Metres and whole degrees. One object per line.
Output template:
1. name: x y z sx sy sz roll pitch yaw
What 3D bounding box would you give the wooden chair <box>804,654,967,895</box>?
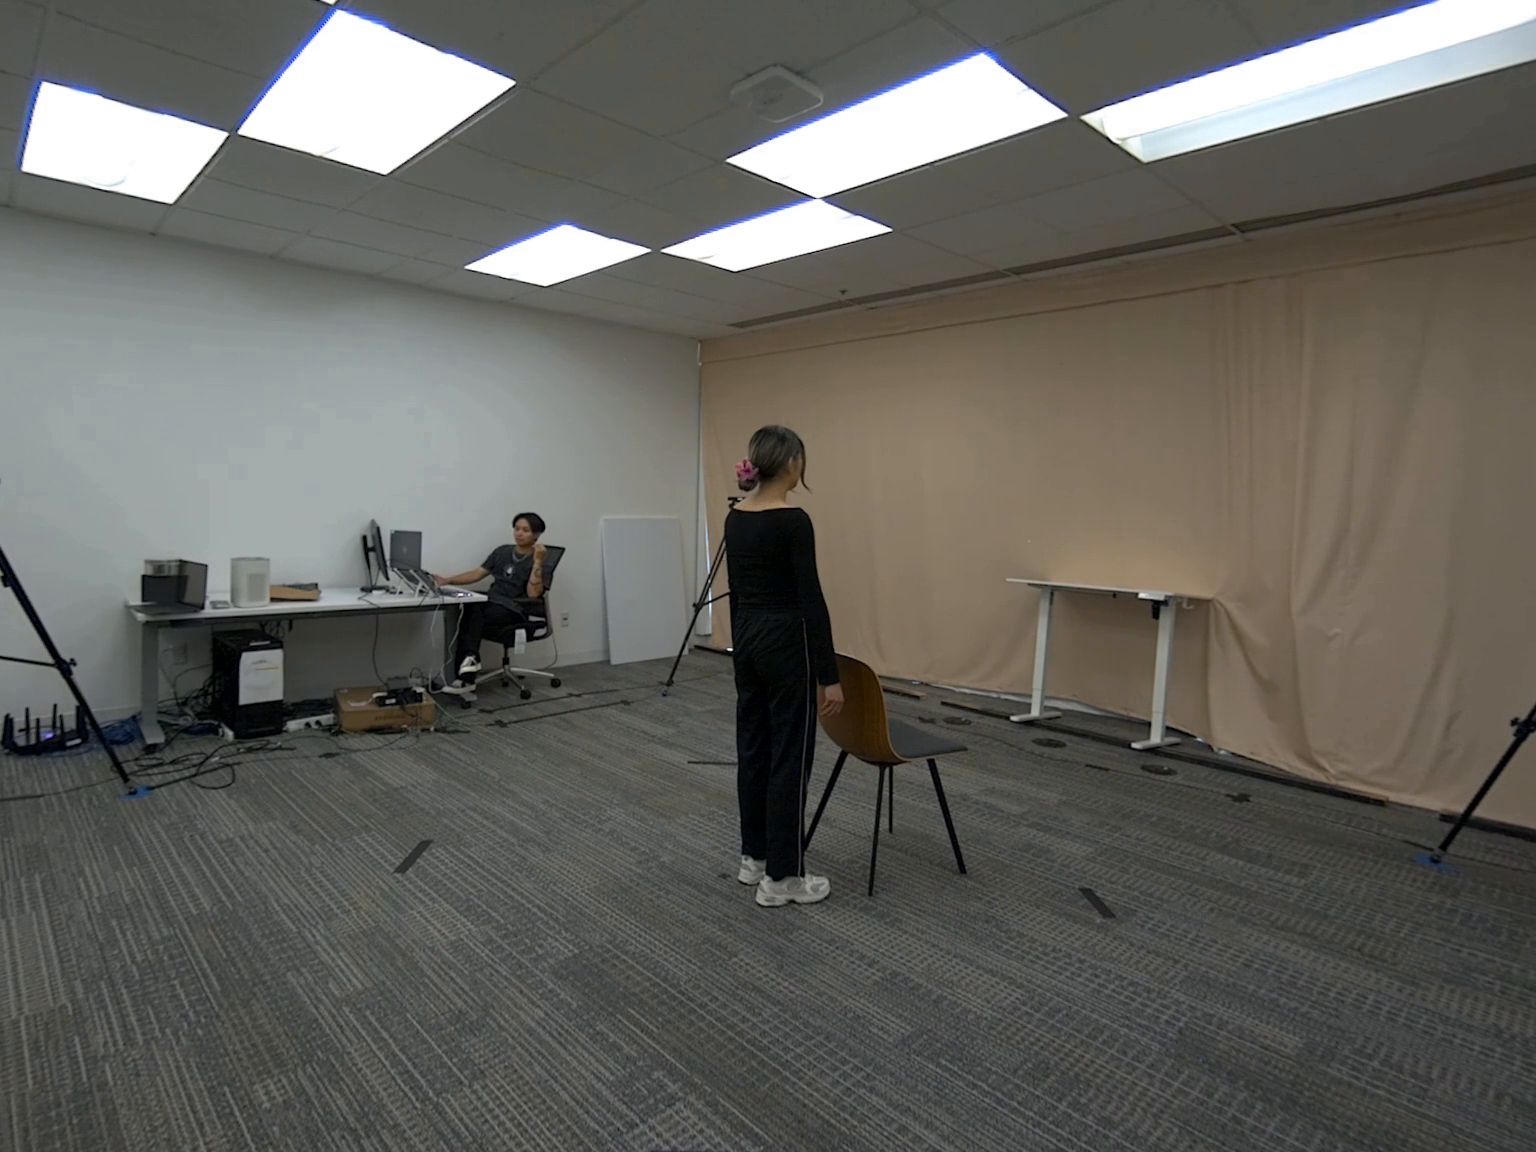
1. wooden chair: 0.456 0.684 3.248 0.514 0.874 0.488 -5 6 -28
